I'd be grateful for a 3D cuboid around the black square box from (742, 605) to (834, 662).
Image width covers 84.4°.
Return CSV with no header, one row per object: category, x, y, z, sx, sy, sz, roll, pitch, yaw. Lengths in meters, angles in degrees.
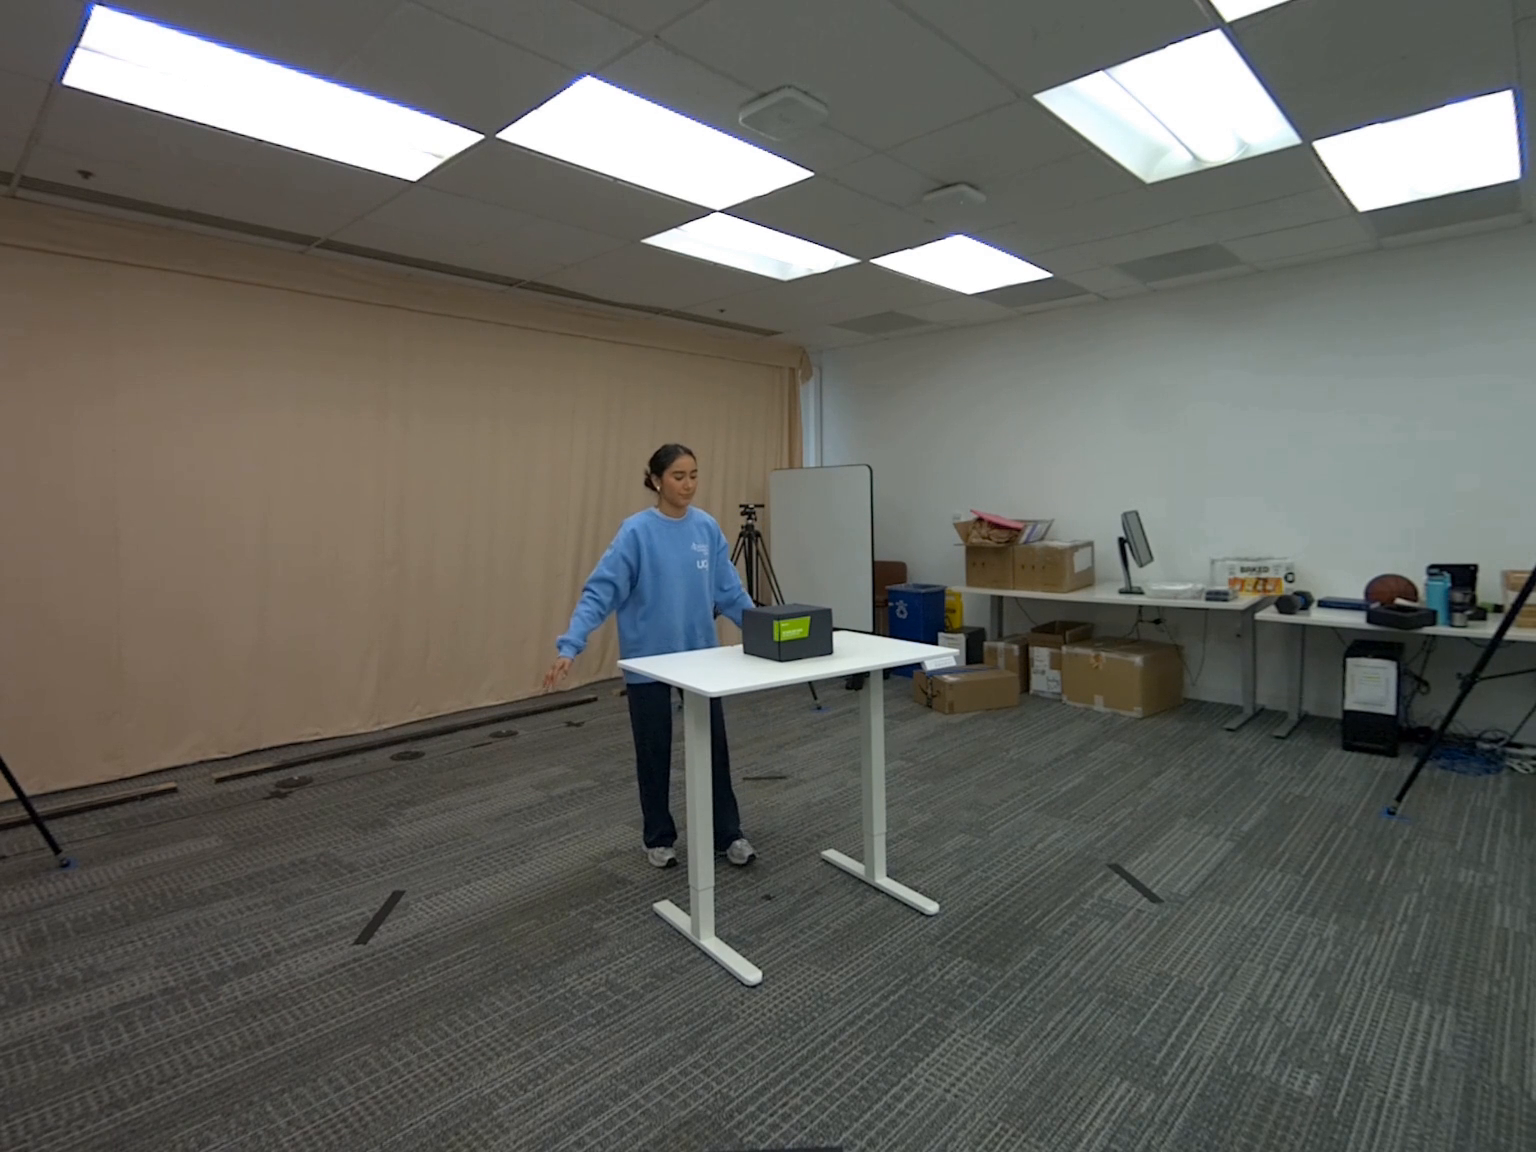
black square box,0.065,0.188,2.866,0.221,0.155,0.224,-5,5,-34
